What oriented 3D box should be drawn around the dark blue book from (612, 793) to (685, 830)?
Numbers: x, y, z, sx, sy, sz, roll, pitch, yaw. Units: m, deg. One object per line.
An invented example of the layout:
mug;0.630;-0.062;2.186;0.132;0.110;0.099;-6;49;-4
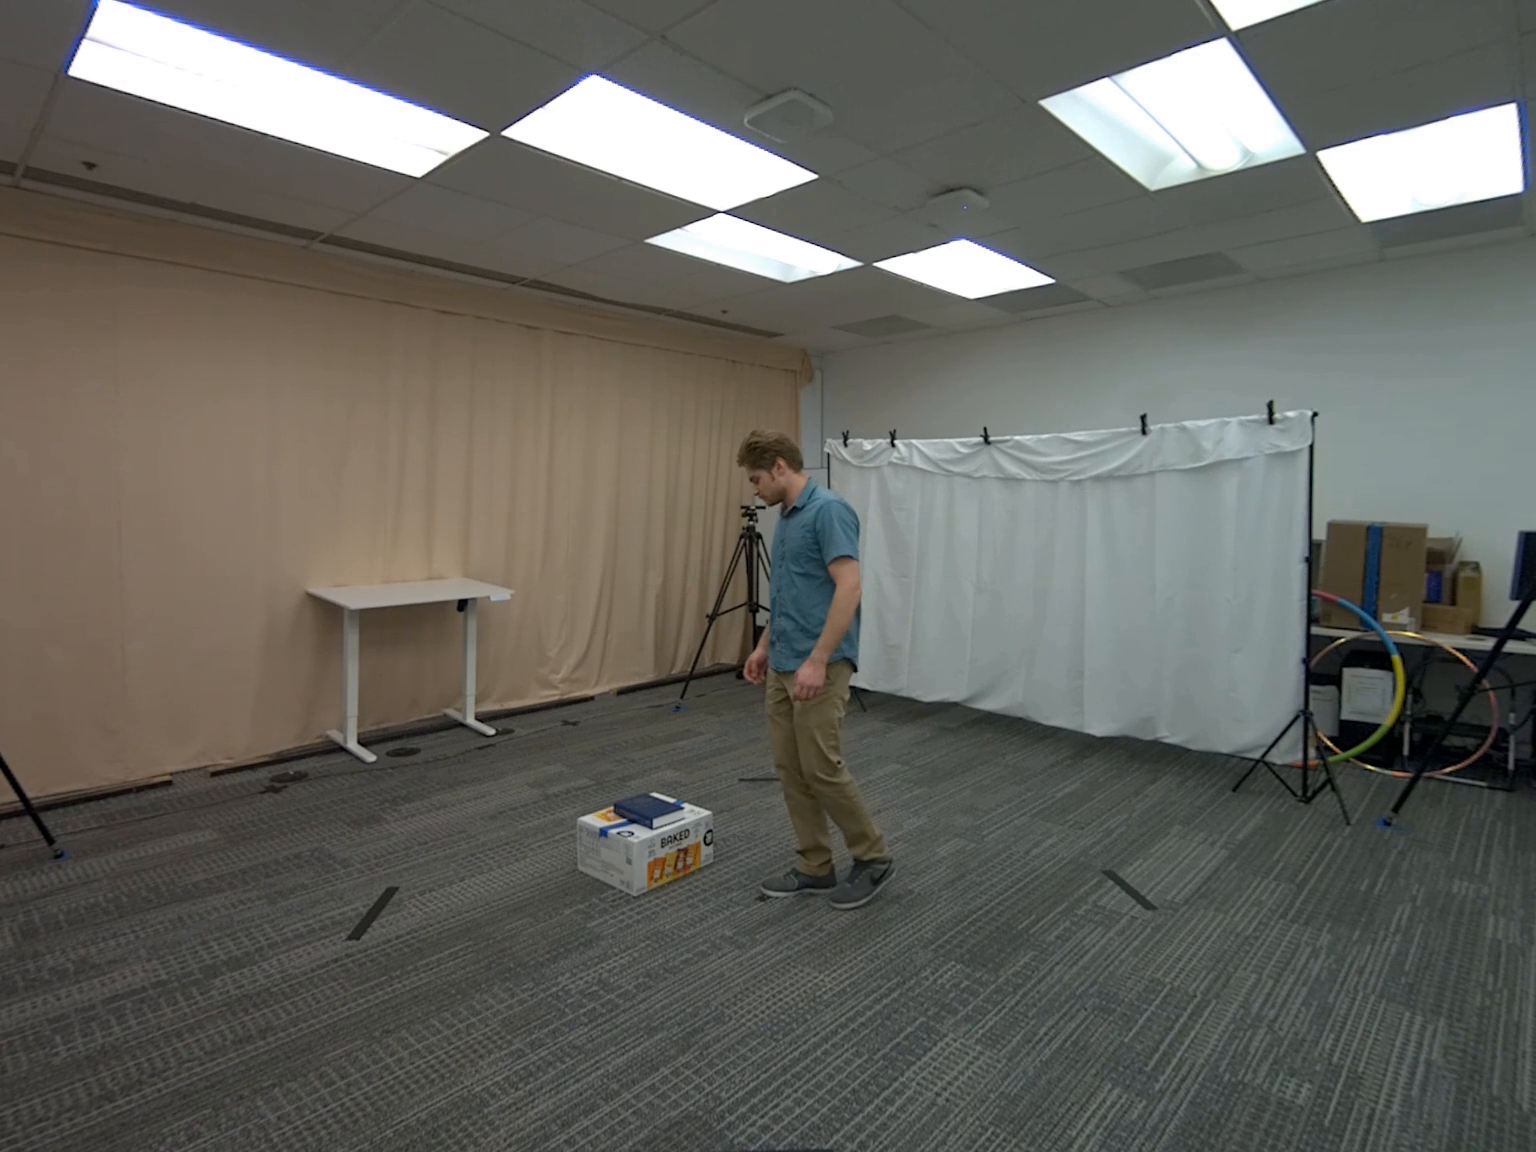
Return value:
dark blue book;-0.462;0.912;3.265;0.253;0.045;0.158;4;6;44
